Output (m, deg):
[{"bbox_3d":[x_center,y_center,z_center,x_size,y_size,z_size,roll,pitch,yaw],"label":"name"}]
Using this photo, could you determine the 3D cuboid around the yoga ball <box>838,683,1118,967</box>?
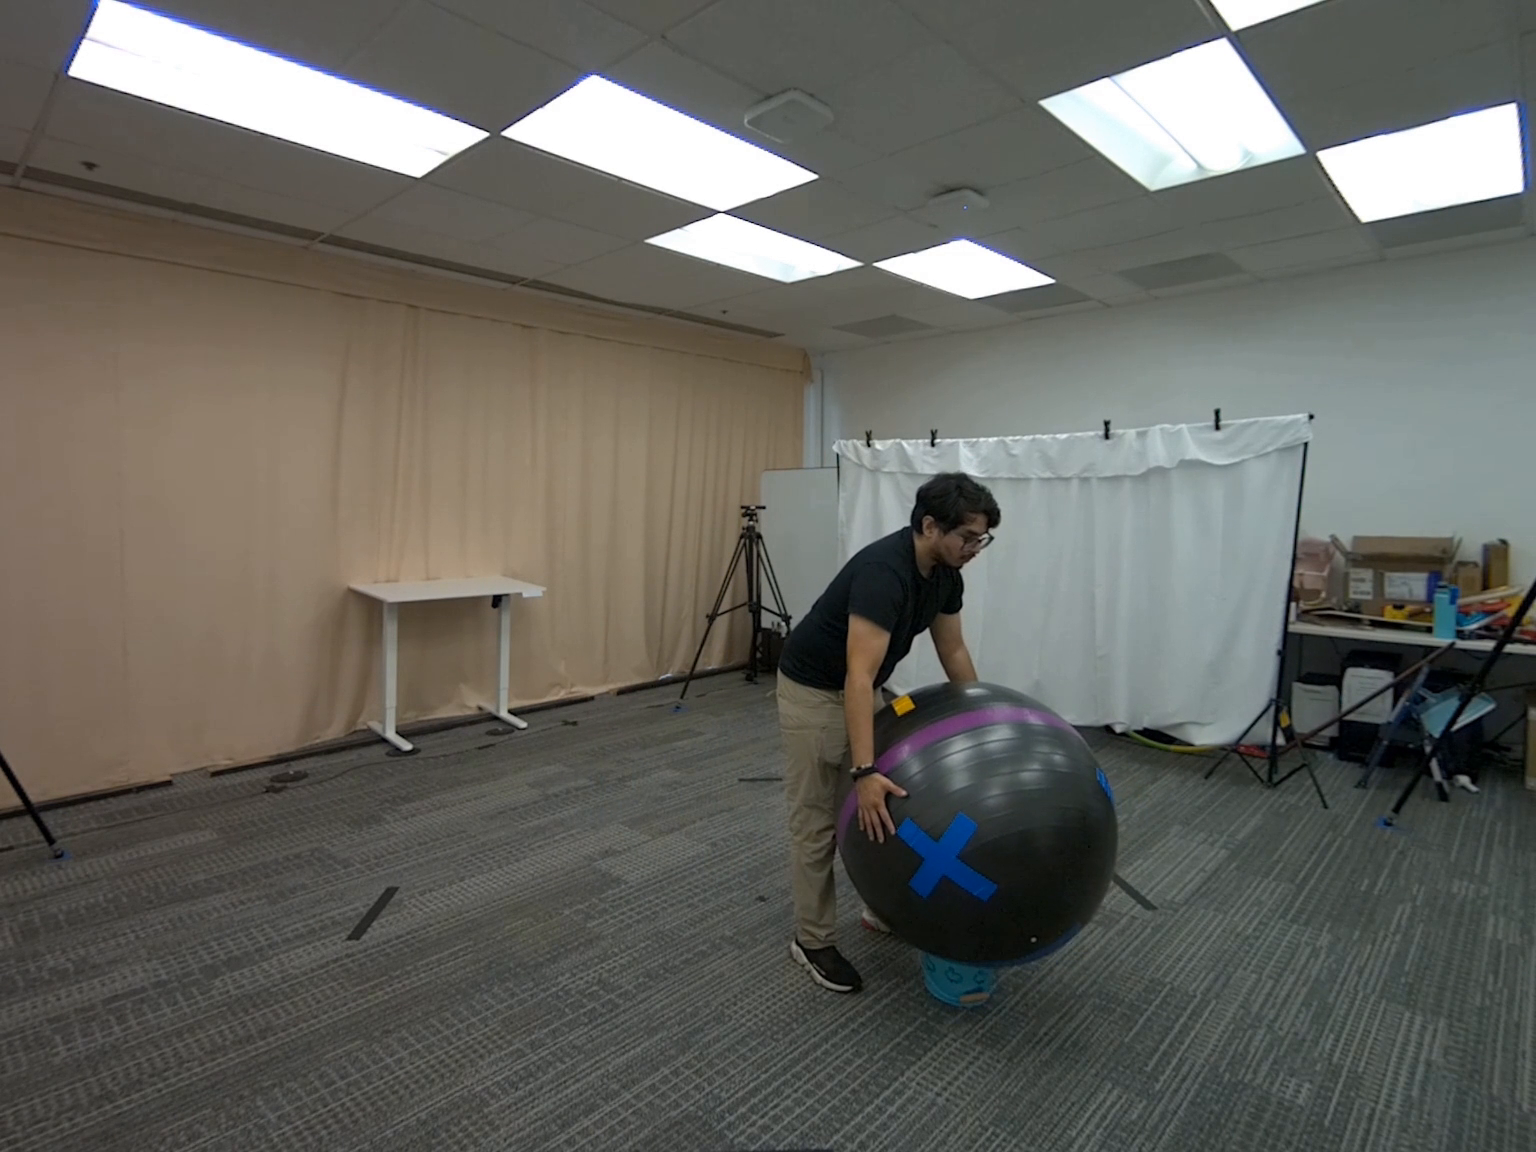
[{"bbox_3d":[0.582,0.685,2.358,0.757,0.756,0.760,0,4,-2],"label":"yoga ball"}]
